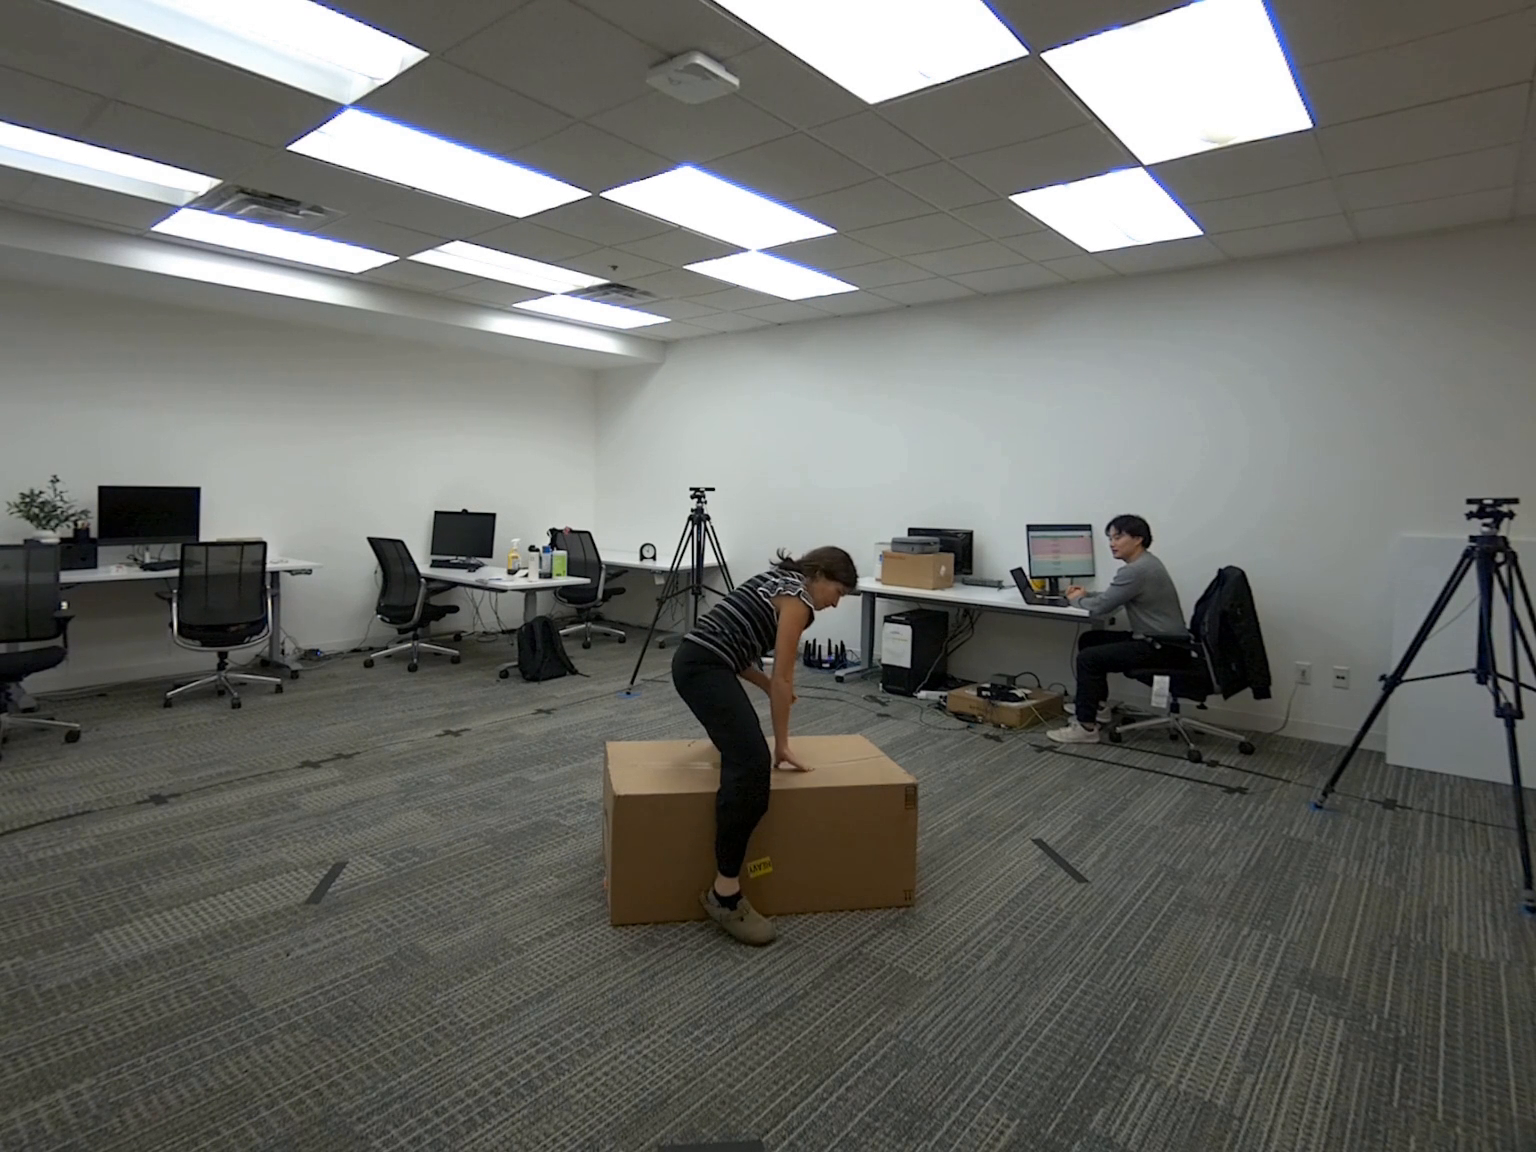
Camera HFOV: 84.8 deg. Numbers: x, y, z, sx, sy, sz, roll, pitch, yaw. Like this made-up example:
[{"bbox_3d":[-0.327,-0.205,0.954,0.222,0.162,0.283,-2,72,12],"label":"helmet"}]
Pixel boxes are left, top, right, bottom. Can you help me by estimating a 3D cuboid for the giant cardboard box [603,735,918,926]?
[{"bbox_3d":[-0.070,0.868,3.042,1.014,0.425,0.586,0,5,-11],"label":"giant cardboard box"}]
